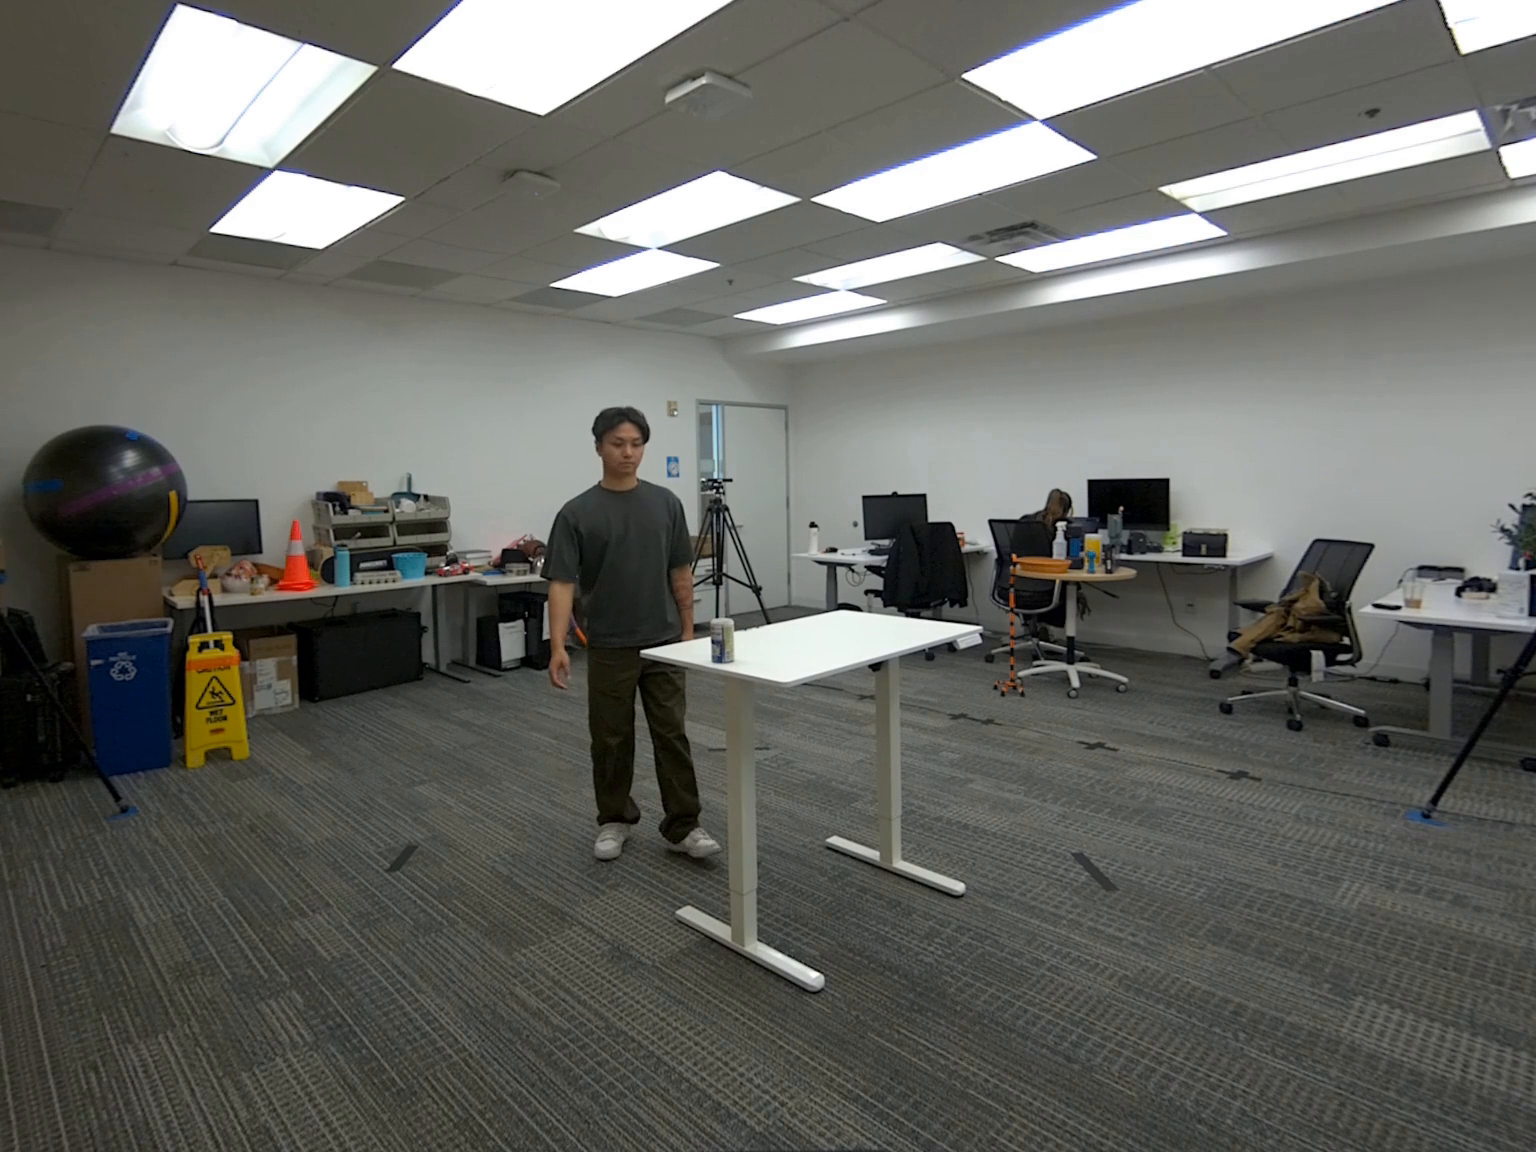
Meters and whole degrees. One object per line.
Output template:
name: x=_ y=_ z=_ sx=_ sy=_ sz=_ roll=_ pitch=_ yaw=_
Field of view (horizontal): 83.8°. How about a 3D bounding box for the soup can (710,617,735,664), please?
soup can: x=-0.120 y=0.188 z=2.430 sx=0.067 sy=0.121 sz=0.067 roll=-4 pitch=4 yaw=-1
